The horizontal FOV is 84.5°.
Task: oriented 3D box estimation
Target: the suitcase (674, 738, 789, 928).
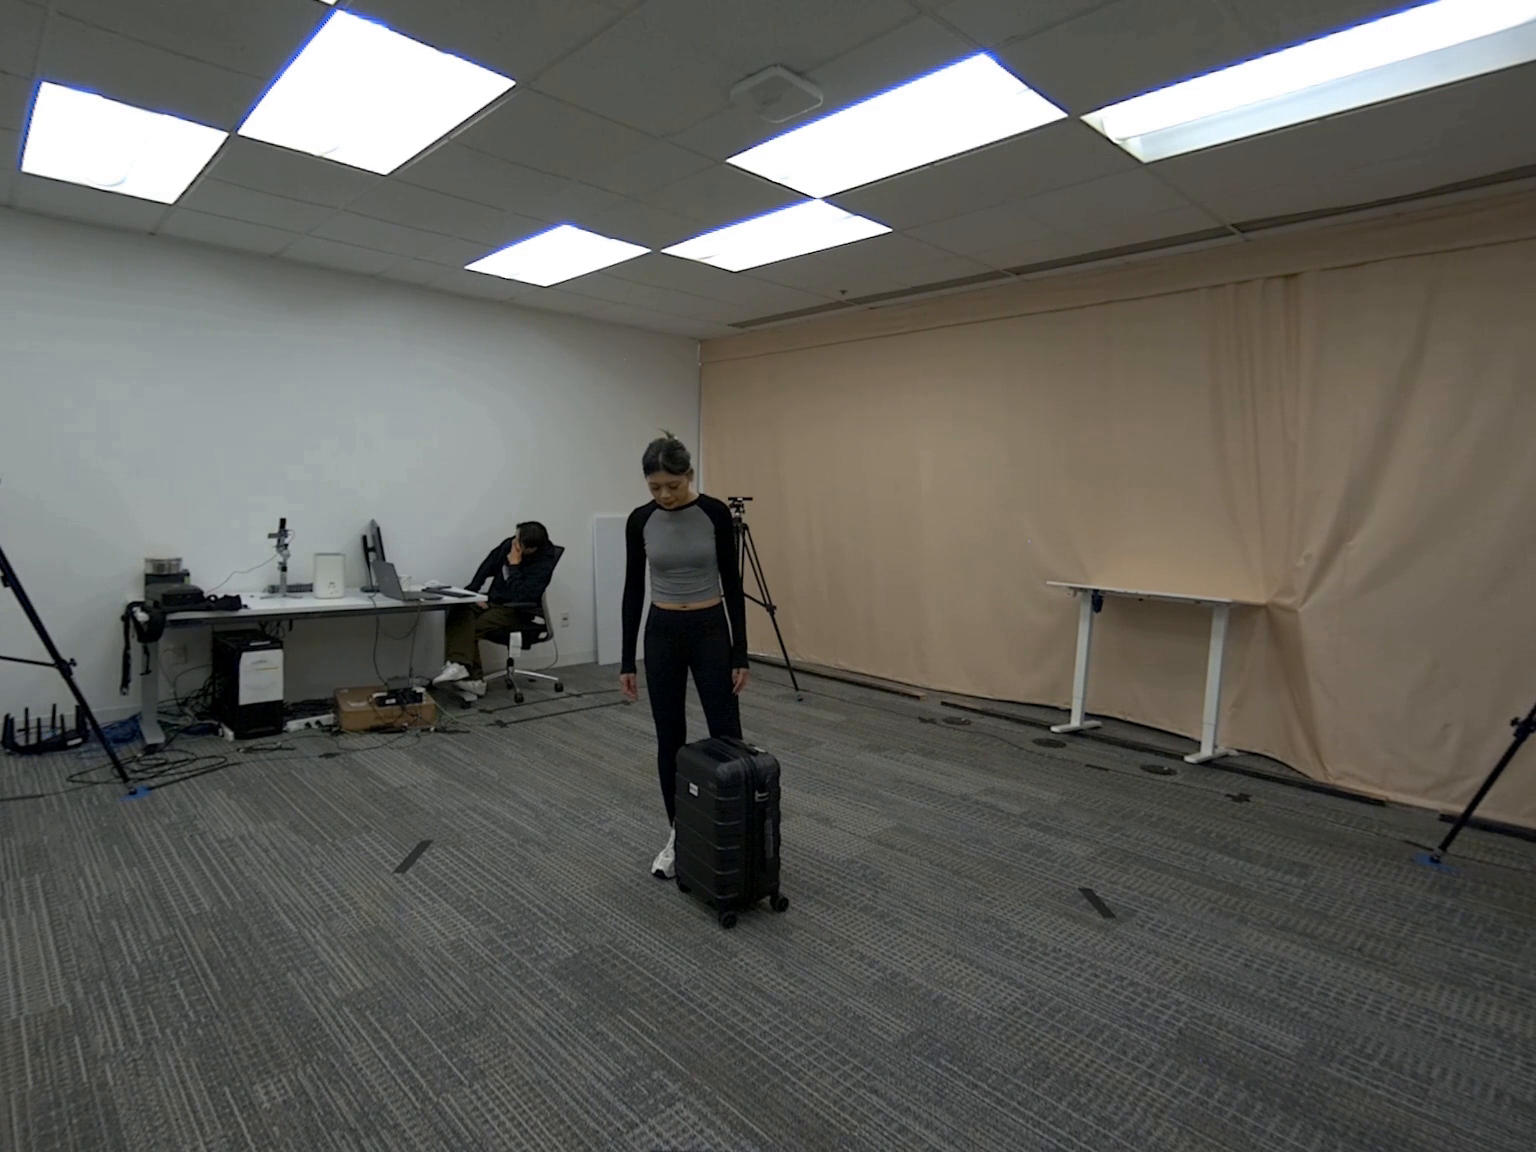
[{"bbox_3d":[-0.144,0.851,2.889,0.243,0.548,0.384,-2,5,-34],"label":"suitcase"}]
